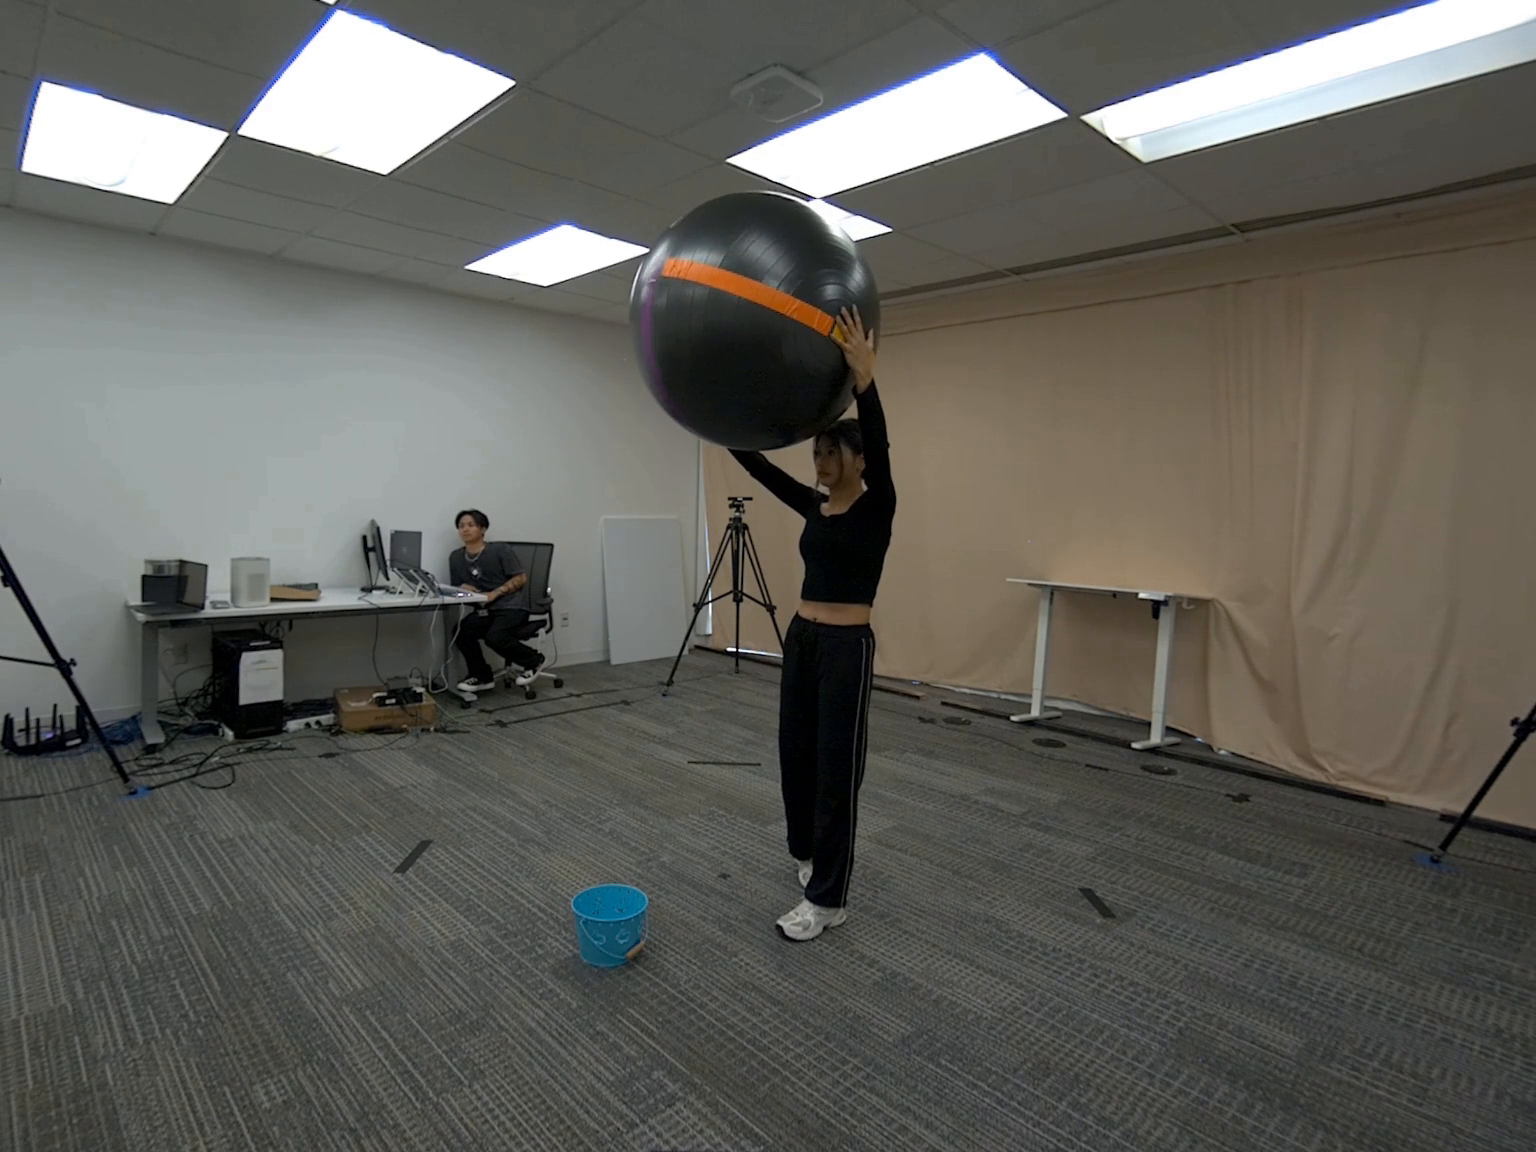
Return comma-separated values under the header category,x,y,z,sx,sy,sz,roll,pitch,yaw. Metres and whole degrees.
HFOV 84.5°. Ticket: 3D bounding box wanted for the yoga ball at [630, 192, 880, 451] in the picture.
category,x,y,z,sx,sy,sz,roll,pitch,yaw
yoga ball,-0.046,-0.754,2.554,0.757,0.756,0.761,1,4,-1
